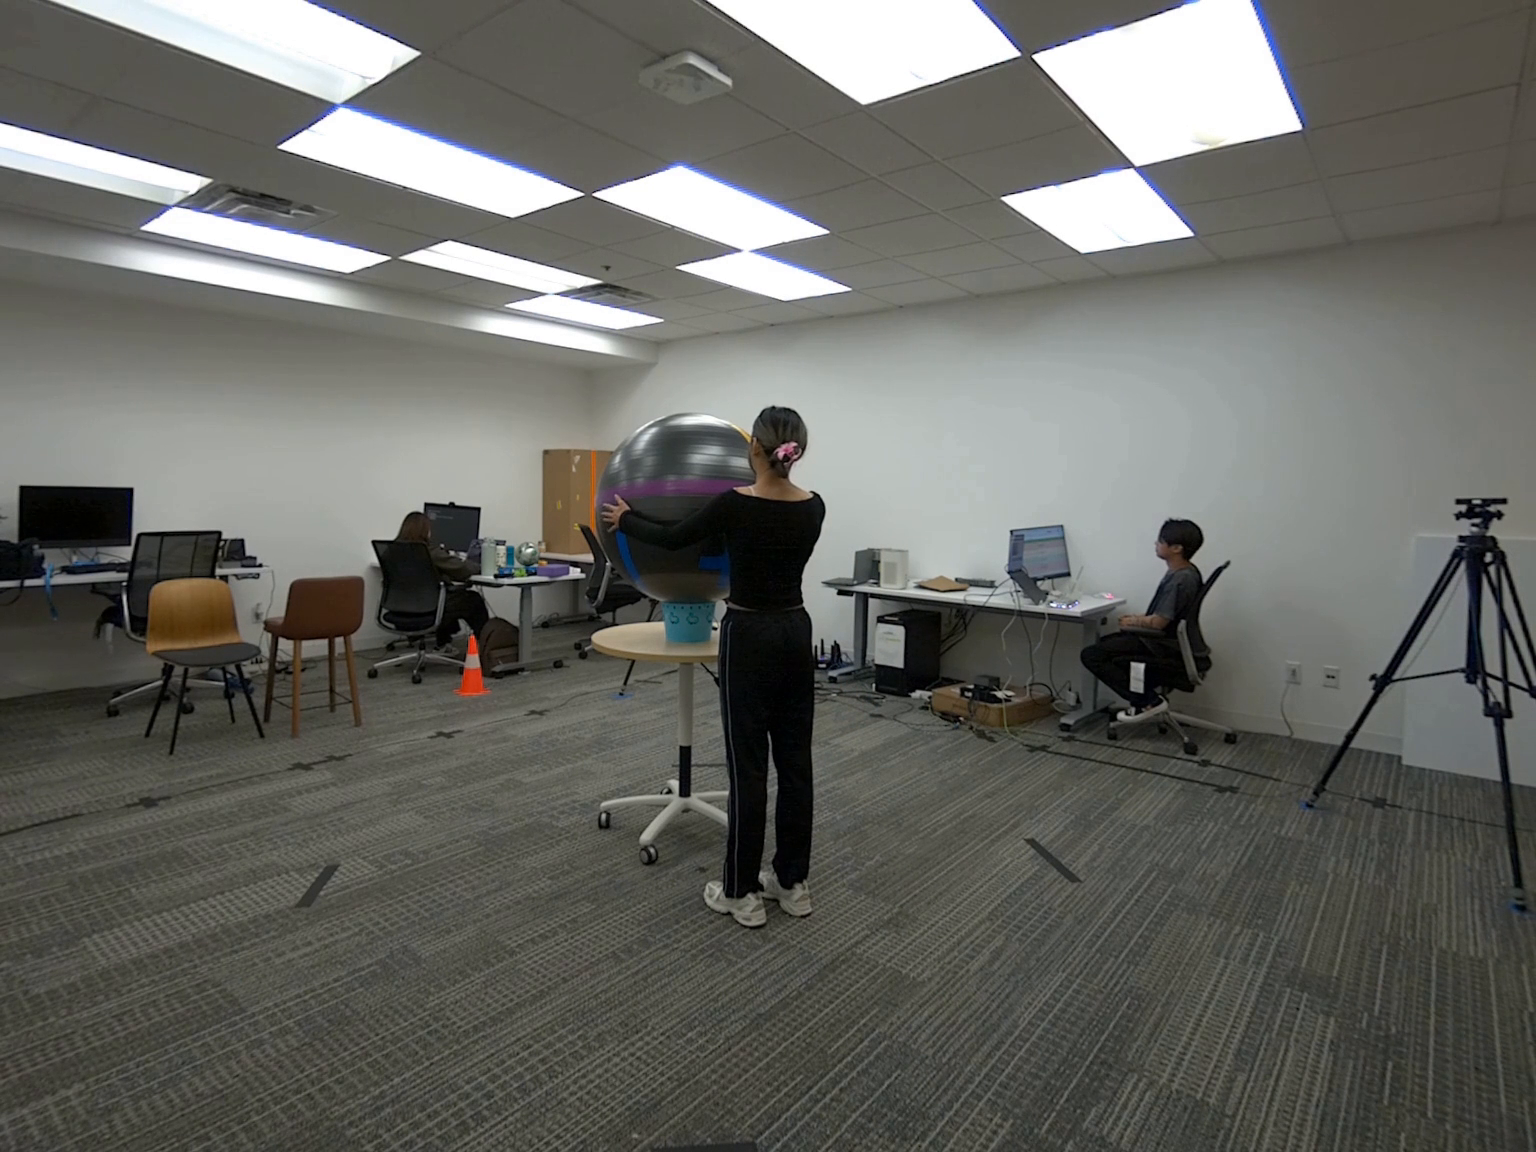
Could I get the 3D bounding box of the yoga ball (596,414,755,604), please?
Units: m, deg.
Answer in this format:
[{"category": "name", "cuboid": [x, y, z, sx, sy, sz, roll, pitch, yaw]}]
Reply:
[{"category": "yoga ball", "cuboid": [-0.317, -0.261, 3.391, 0.757, 0.756, 0.762, 1, 4, -2]}]
